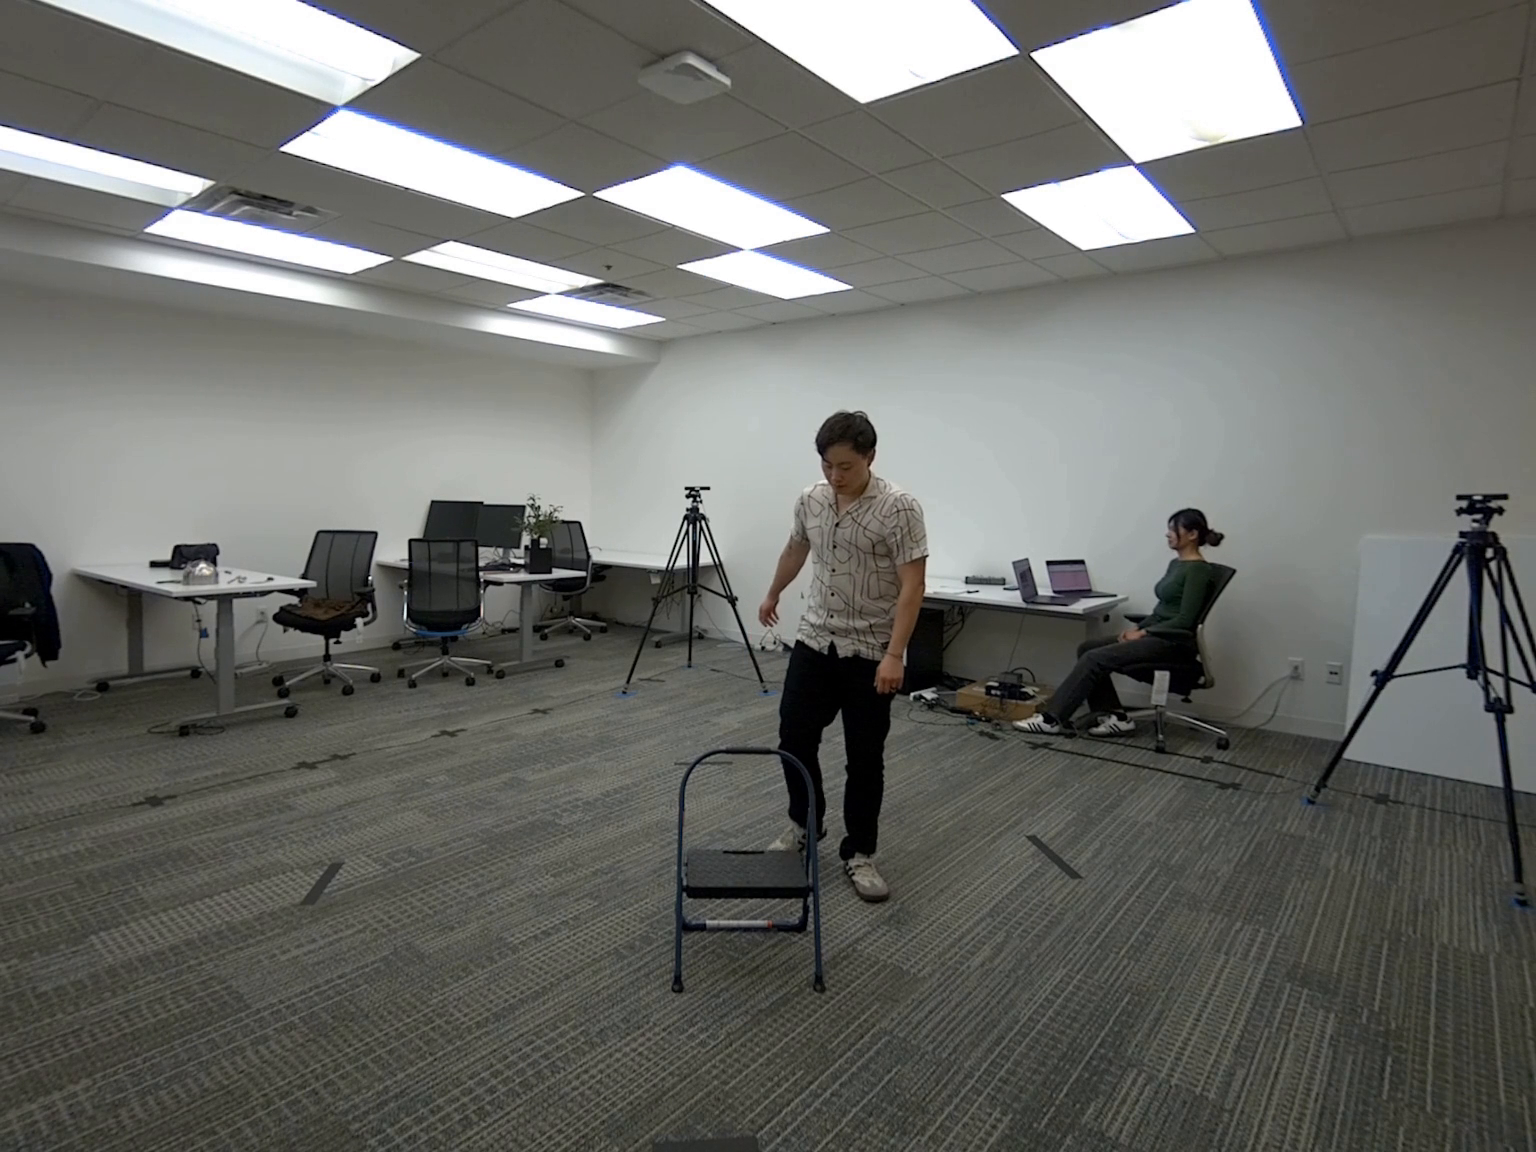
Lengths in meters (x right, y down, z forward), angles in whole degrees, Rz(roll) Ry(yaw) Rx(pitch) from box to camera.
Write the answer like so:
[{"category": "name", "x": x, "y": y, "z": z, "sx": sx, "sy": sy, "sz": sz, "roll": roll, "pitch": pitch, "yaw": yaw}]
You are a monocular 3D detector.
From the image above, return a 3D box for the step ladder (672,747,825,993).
[{"category": "step ladder", "x": -0.070, "y": 0.830, "z": 2.504, "sx": 0.429, "sy": 0.604, "sz": 0.352, "roll": 1, "pitch": 4, "yaw": -4}]
